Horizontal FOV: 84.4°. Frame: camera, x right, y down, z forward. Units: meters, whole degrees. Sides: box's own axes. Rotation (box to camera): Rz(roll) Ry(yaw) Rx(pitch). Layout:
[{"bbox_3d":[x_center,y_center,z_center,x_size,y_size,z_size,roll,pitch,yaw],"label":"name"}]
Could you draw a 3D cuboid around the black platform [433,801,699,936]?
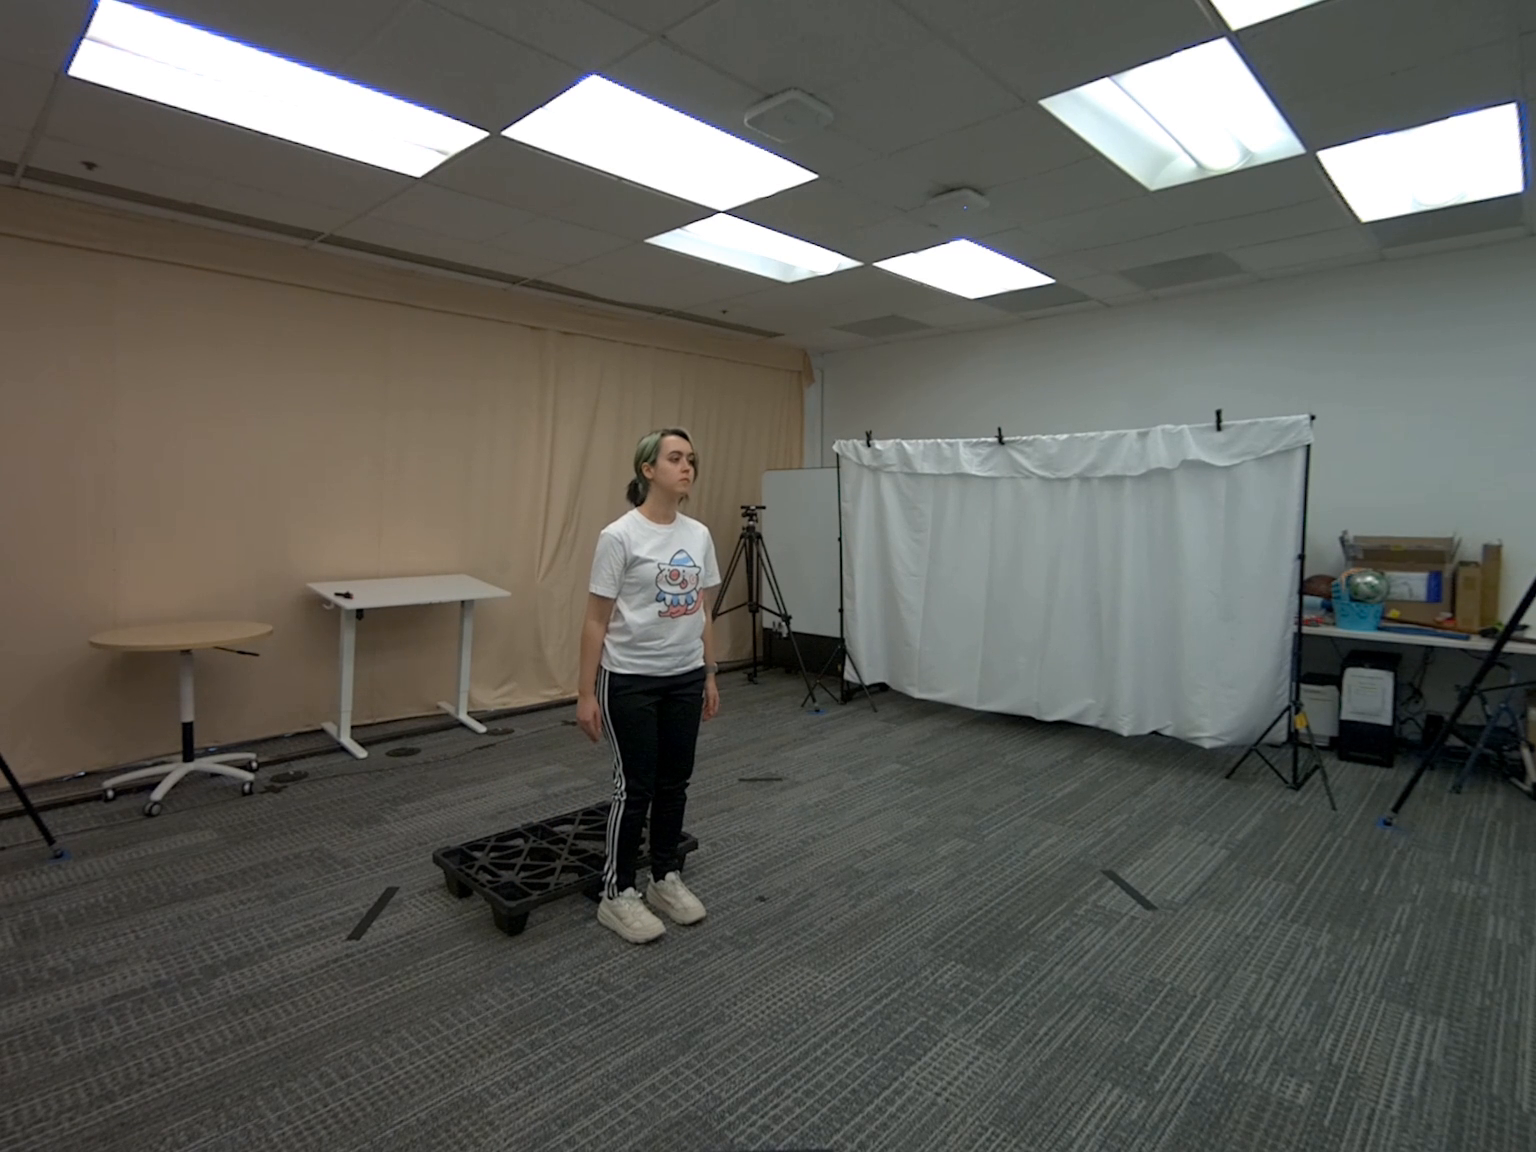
[{"bbox_3d":[-0.741,1.071,3.139,0.781,0.143,0.625,-5,7,-43],"label":"black platform"}]
